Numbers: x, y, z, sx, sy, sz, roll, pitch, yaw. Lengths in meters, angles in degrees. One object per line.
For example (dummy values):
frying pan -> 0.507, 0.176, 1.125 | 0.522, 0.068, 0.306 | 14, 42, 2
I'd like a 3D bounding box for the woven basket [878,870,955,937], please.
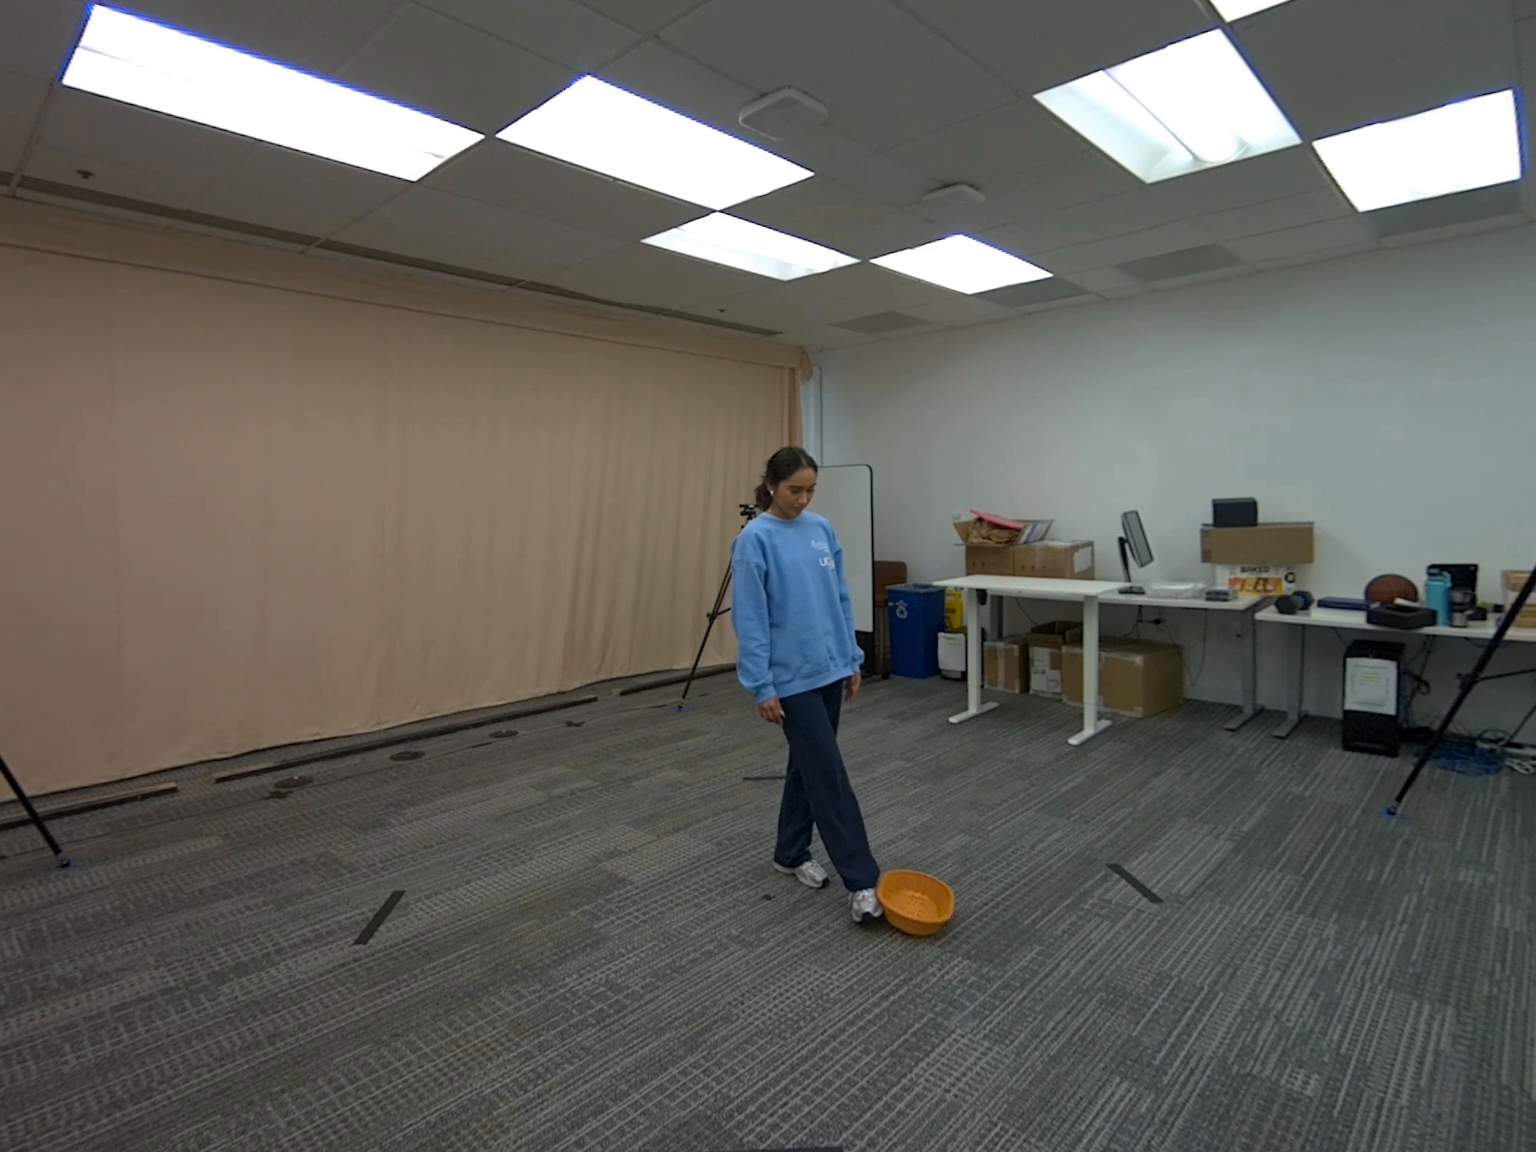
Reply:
woven basket -> 0.494, 1.093, 2.805 | 0.259, 0.073, 0.343 | 12, 7, 21
